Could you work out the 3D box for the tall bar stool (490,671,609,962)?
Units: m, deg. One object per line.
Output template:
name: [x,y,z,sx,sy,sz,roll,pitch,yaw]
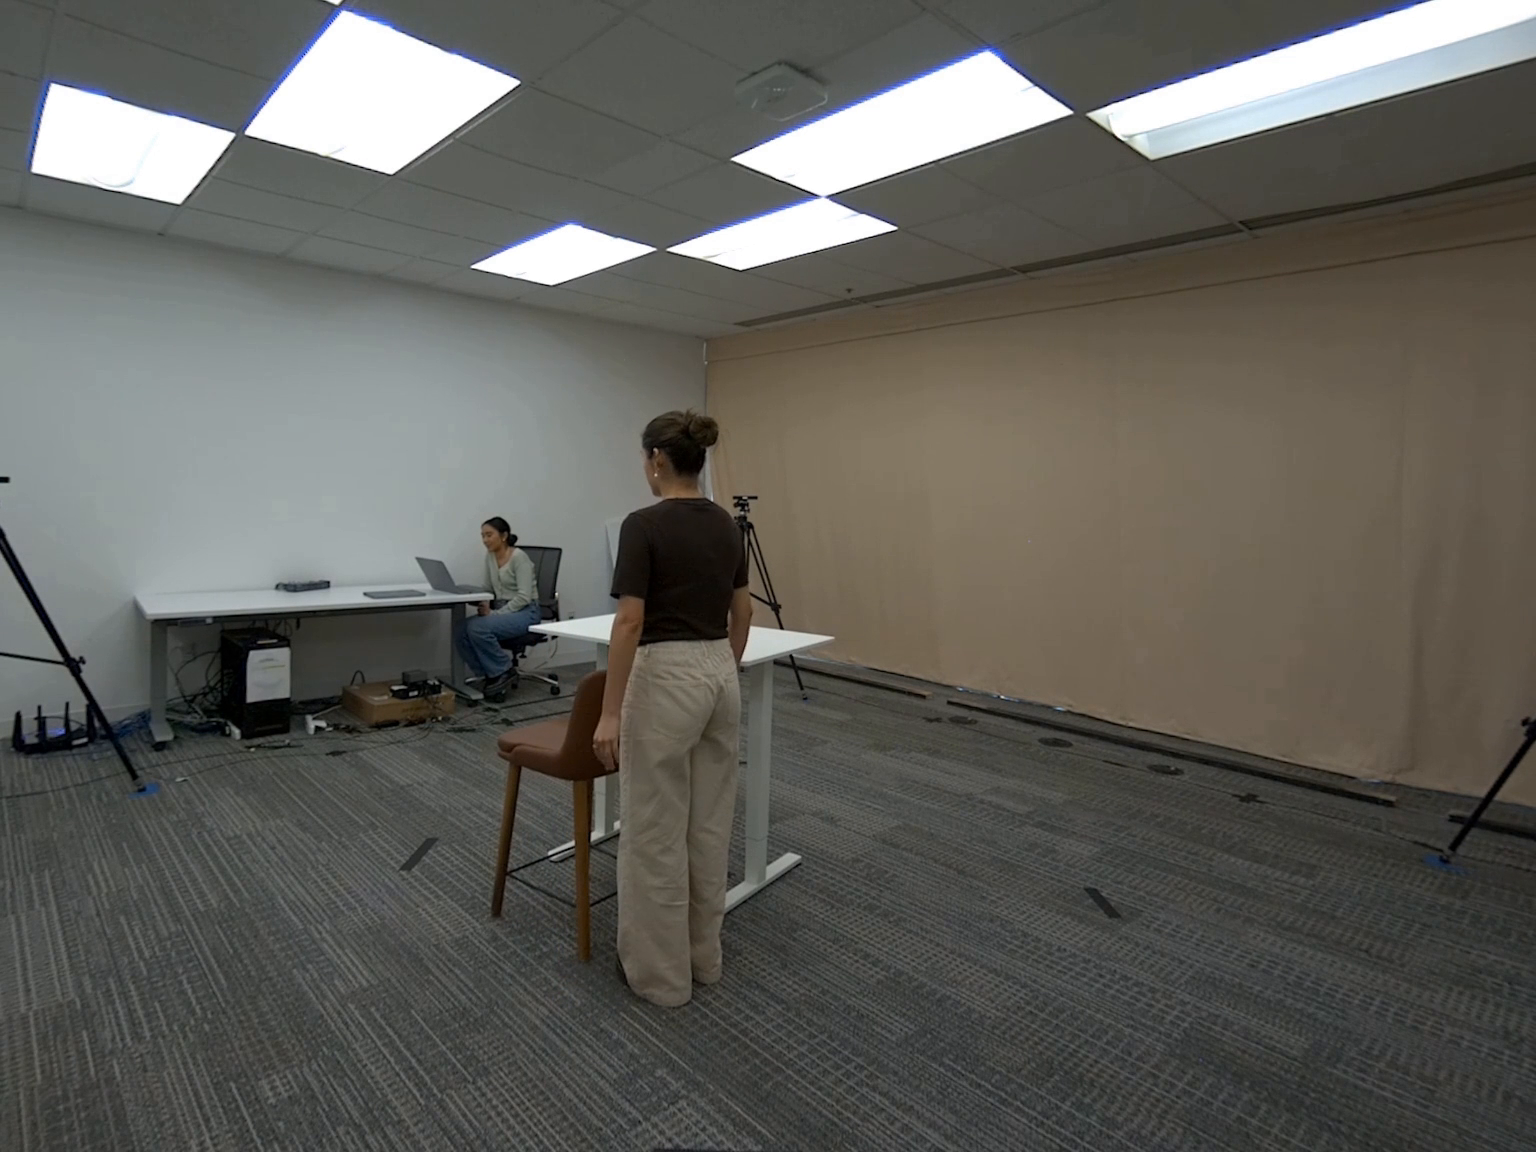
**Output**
tall bar stool: [-0.599,0.692,2.744,0.479,0.886,0.446,6,6,38]
